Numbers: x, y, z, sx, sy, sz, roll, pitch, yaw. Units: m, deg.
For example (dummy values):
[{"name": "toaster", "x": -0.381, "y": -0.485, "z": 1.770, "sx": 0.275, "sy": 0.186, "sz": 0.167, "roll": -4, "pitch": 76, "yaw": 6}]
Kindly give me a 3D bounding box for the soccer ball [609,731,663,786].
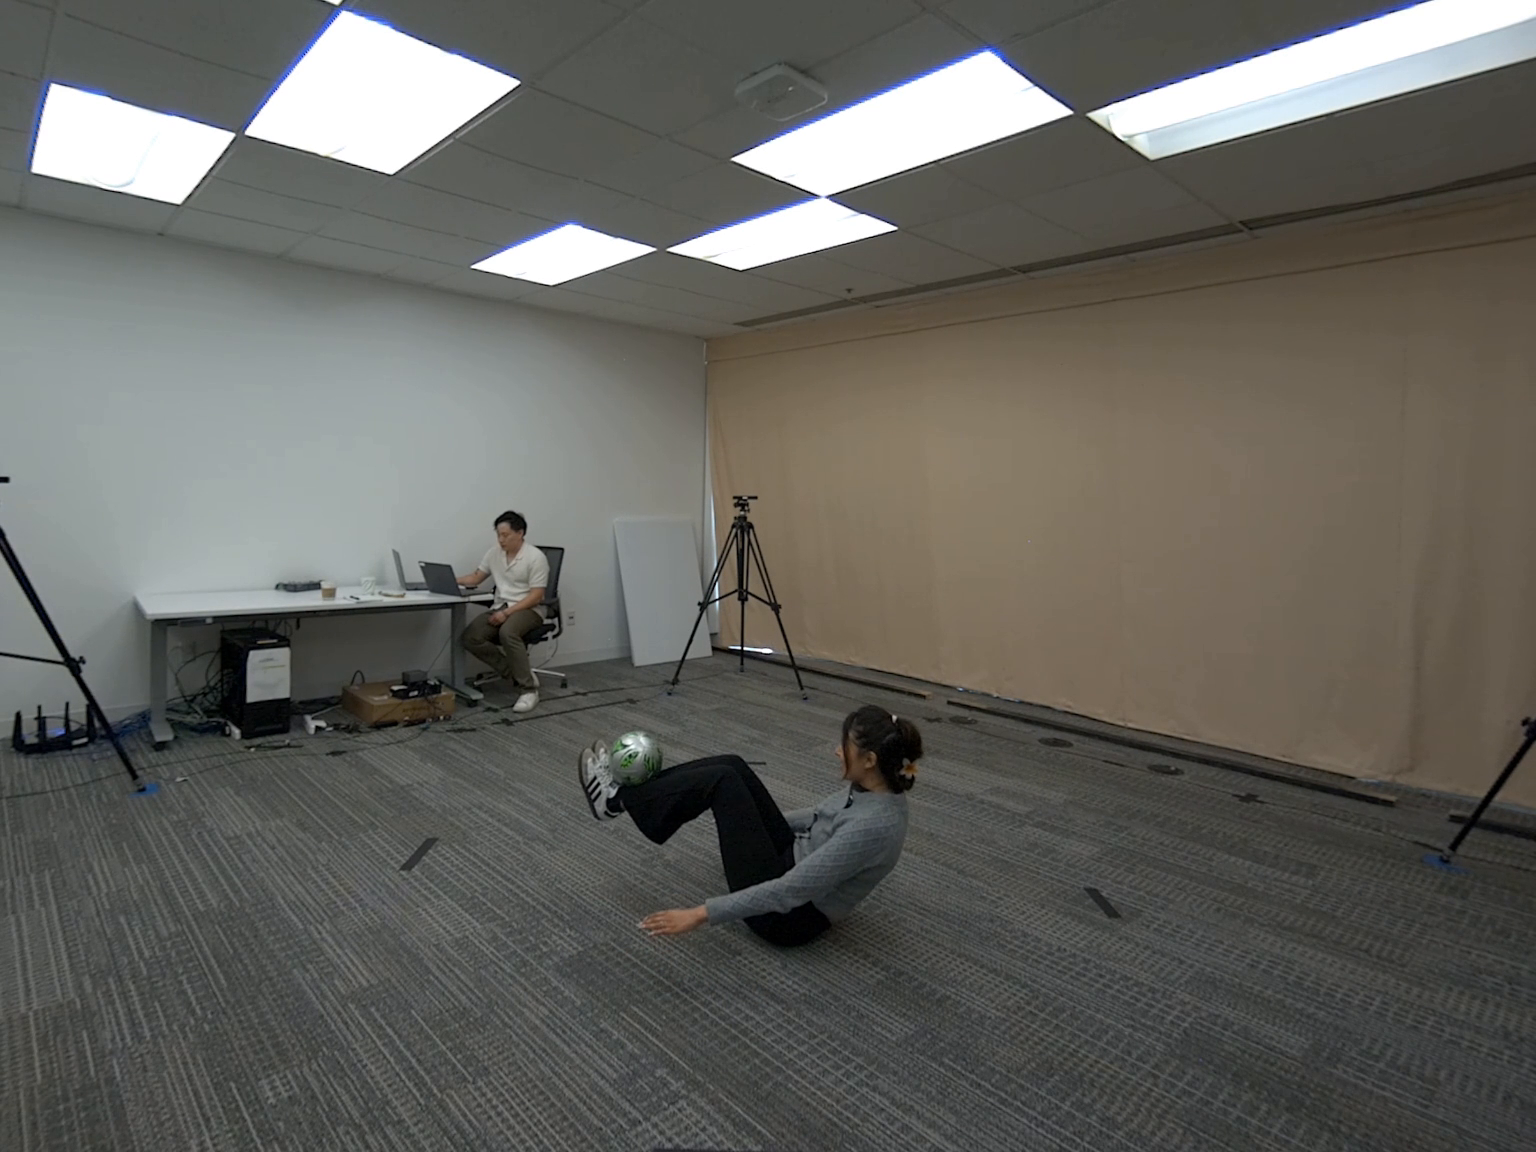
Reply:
[{"name": "soccer ball", "x": -0.467, "y": 0.634, "z": 2.890, "sx": 0.187, "sy": 0.187, "sz": 0.188, "roll": 1, "pitch": 4, "yaw": -1}]
